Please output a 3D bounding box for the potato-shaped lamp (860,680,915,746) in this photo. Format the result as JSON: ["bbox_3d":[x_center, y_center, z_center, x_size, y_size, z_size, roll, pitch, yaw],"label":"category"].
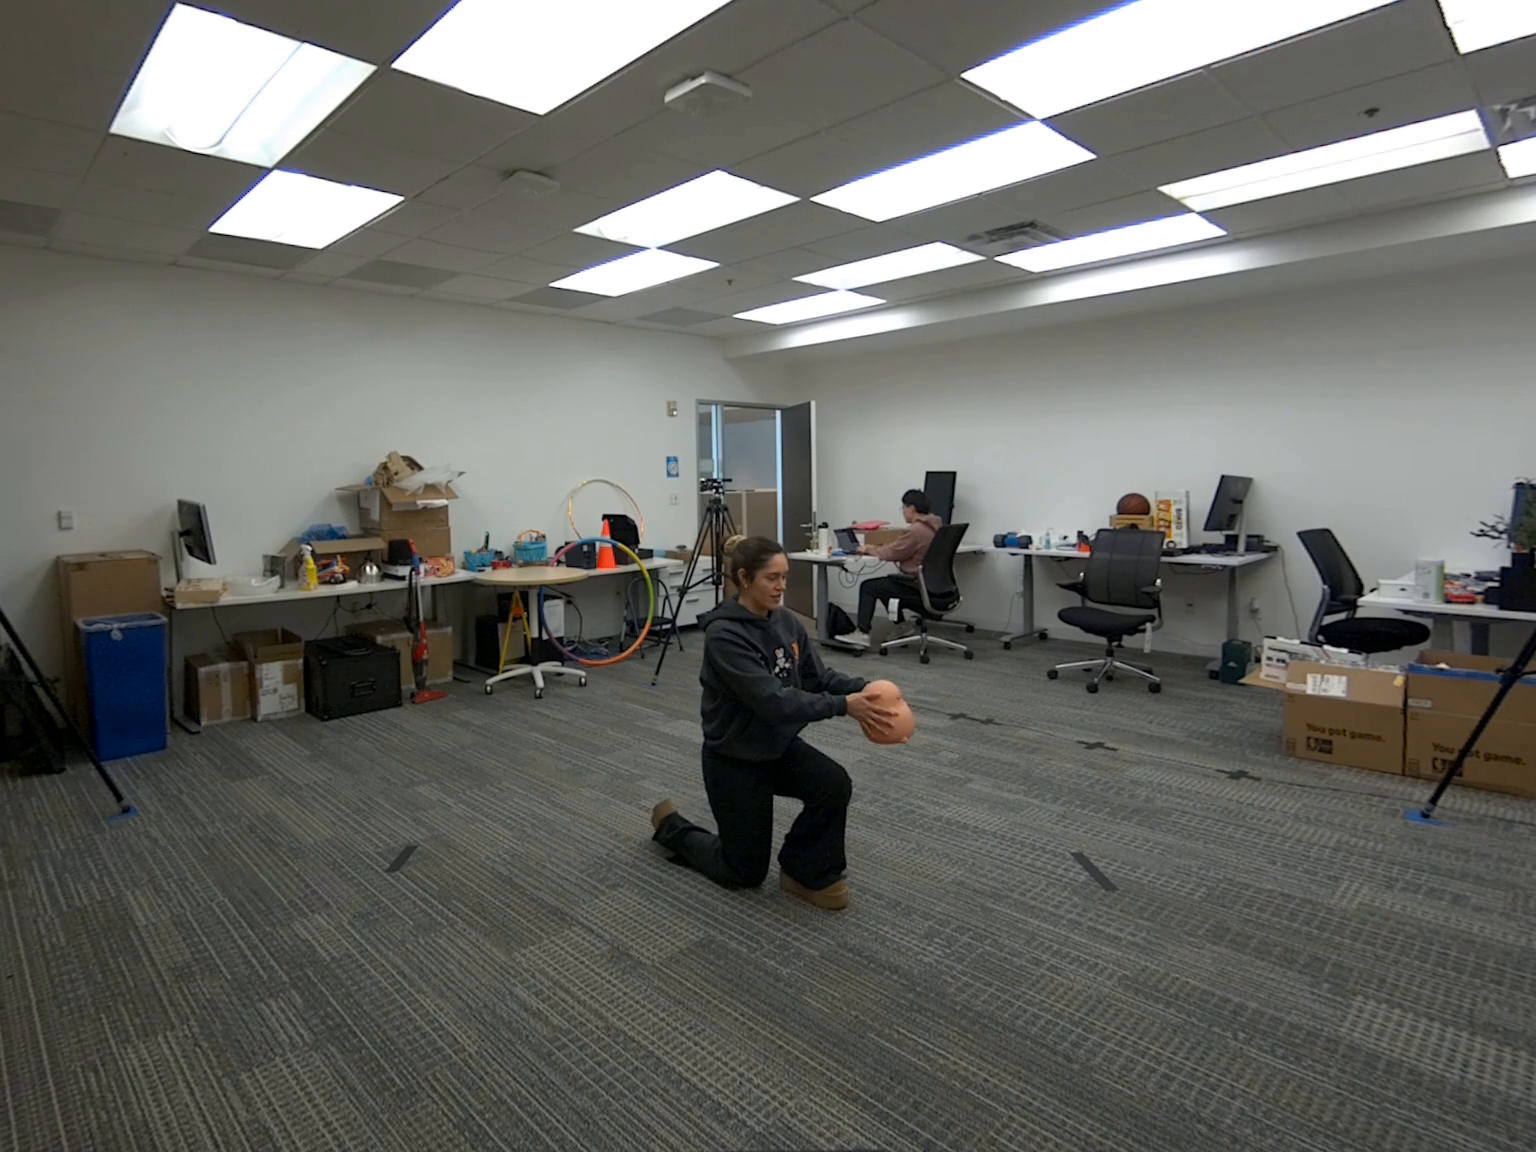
[{"bbox_3d":[0.367,0.435,2.754,0.175,0.198,0.162,-7,2,25],"label":"potato-shaped lamp"}]
